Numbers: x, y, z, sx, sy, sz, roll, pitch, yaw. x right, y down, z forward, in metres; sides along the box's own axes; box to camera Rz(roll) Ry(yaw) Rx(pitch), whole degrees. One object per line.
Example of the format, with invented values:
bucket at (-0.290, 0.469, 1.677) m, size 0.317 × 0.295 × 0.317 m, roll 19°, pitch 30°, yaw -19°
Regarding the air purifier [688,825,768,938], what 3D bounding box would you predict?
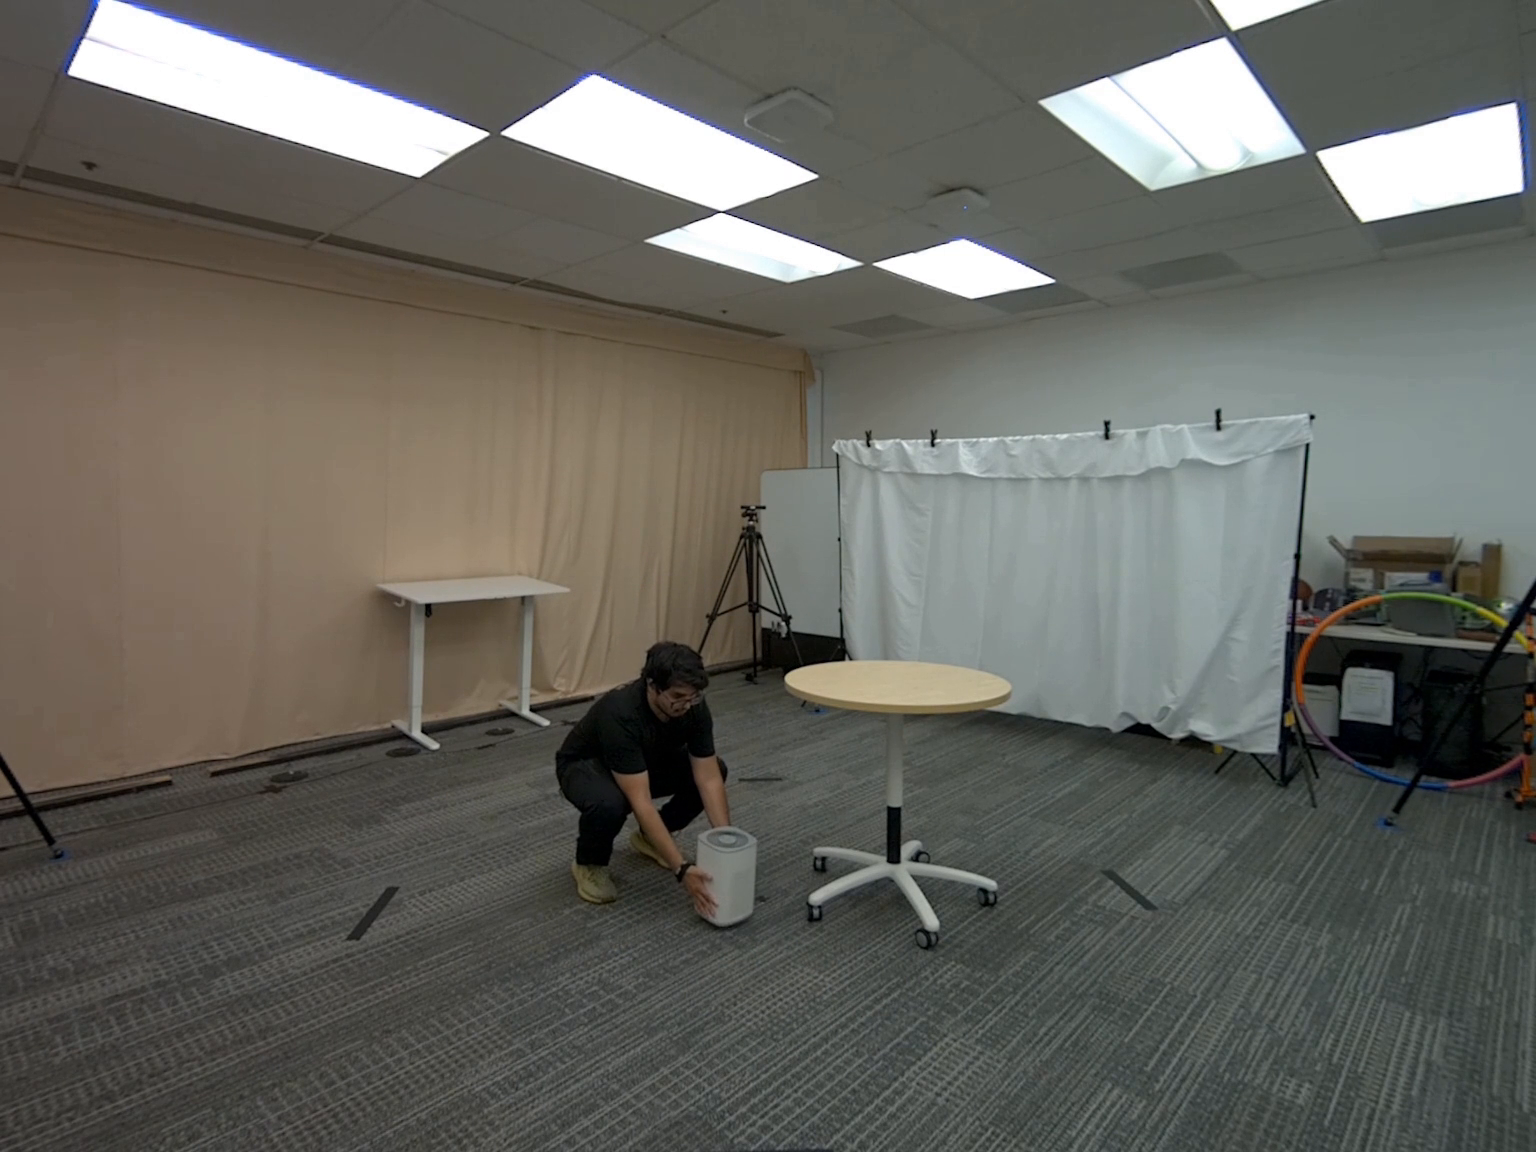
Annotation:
air purifier at (-0.135, 1.001, 2.799) m, size 0.166 × 0.265 × 0.177 m, roll 0°, pitch 6°, yaw -44°
